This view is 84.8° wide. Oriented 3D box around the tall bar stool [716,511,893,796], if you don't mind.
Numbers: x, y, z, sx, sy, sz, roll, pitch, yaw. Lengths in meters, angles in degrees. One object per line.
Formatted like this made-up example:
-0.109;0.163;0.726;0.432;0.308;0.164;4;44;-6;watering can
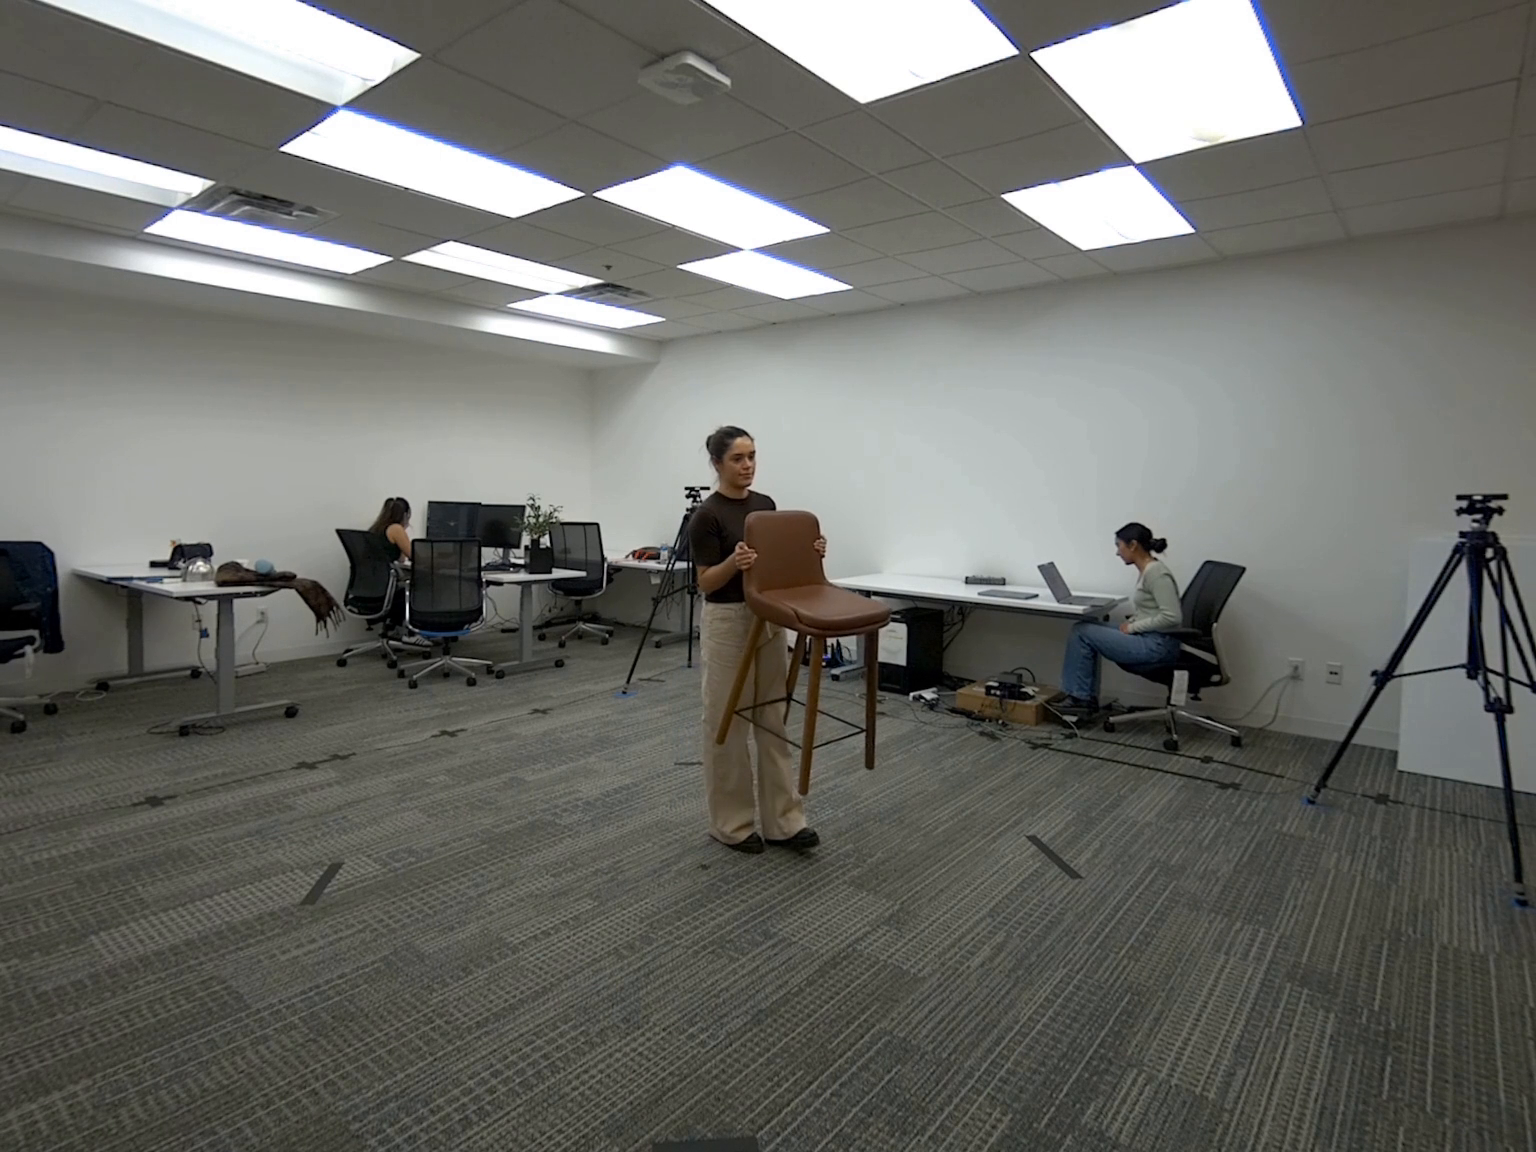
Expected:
0.142;0.246;3.056;0.485;0.884;0.442;14;11;42;tall bar stool
